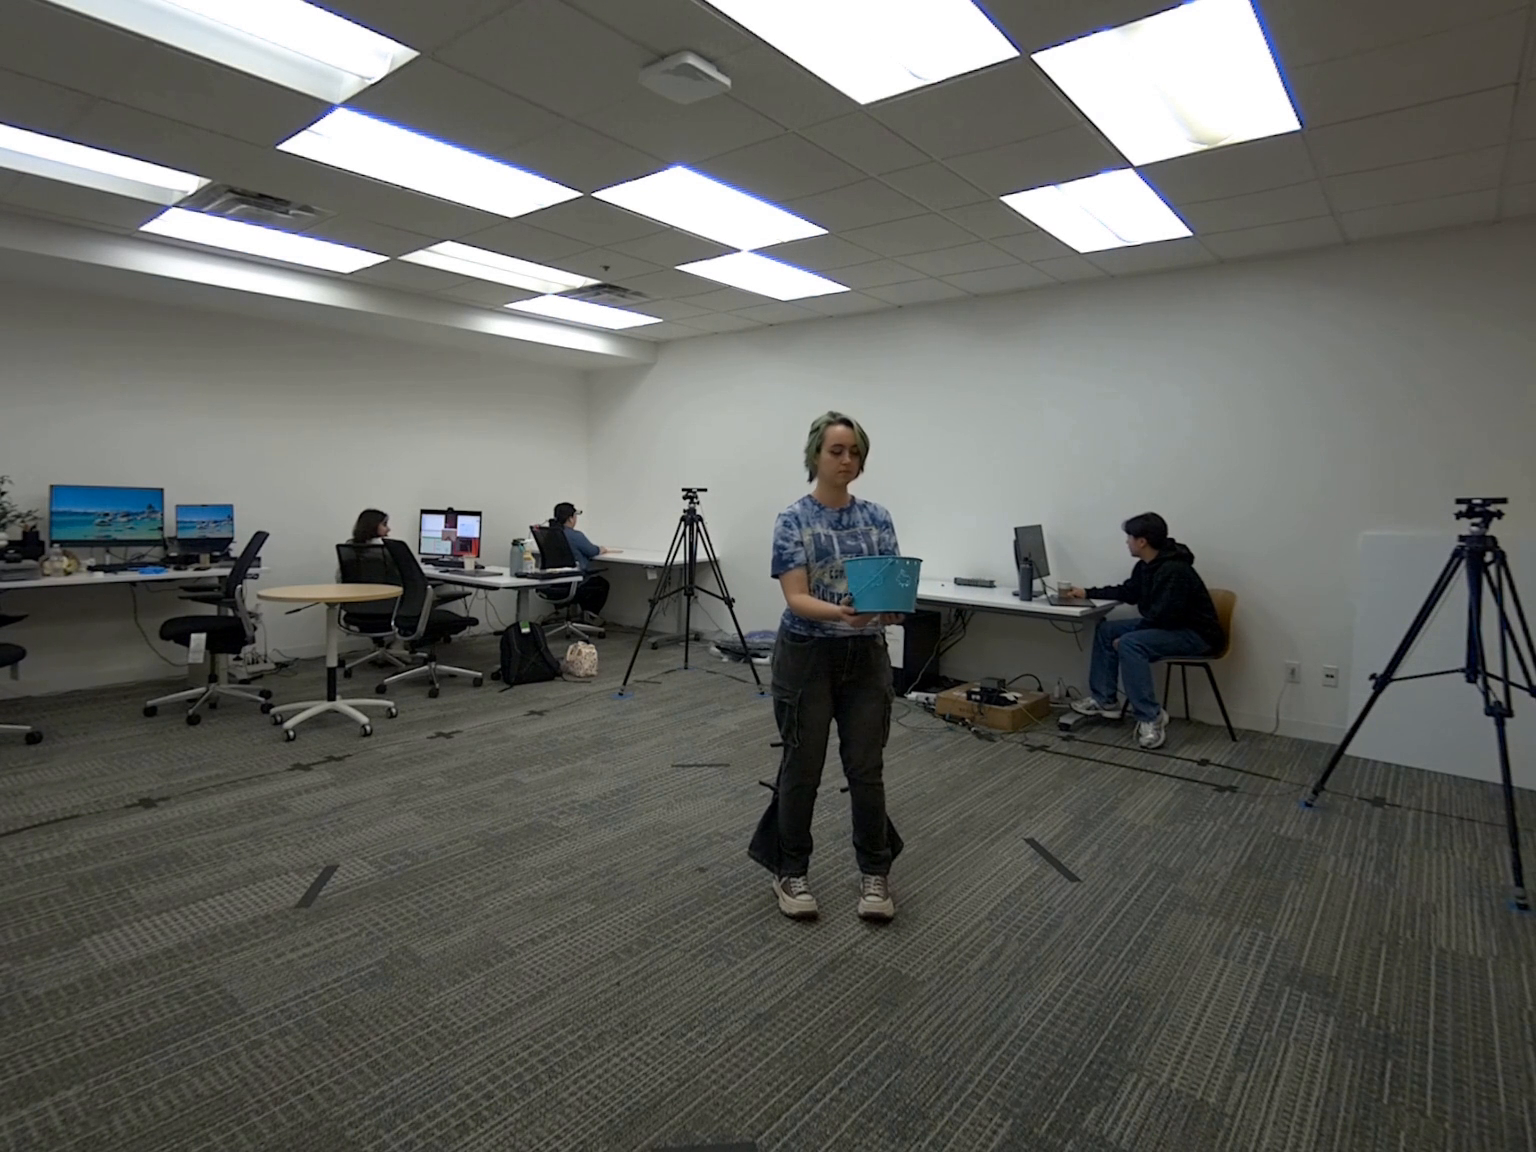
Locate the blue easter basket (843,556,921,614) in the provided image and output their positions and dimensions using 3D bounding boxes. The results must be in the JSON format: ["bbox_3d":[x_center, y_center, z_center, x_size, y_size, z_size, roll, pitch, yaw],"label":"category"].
[{"bbox_3d":[0.331,0.028,2.480,0.243,0.157,0.242,1,-5,-2],"label":"blue easter basket"}]
